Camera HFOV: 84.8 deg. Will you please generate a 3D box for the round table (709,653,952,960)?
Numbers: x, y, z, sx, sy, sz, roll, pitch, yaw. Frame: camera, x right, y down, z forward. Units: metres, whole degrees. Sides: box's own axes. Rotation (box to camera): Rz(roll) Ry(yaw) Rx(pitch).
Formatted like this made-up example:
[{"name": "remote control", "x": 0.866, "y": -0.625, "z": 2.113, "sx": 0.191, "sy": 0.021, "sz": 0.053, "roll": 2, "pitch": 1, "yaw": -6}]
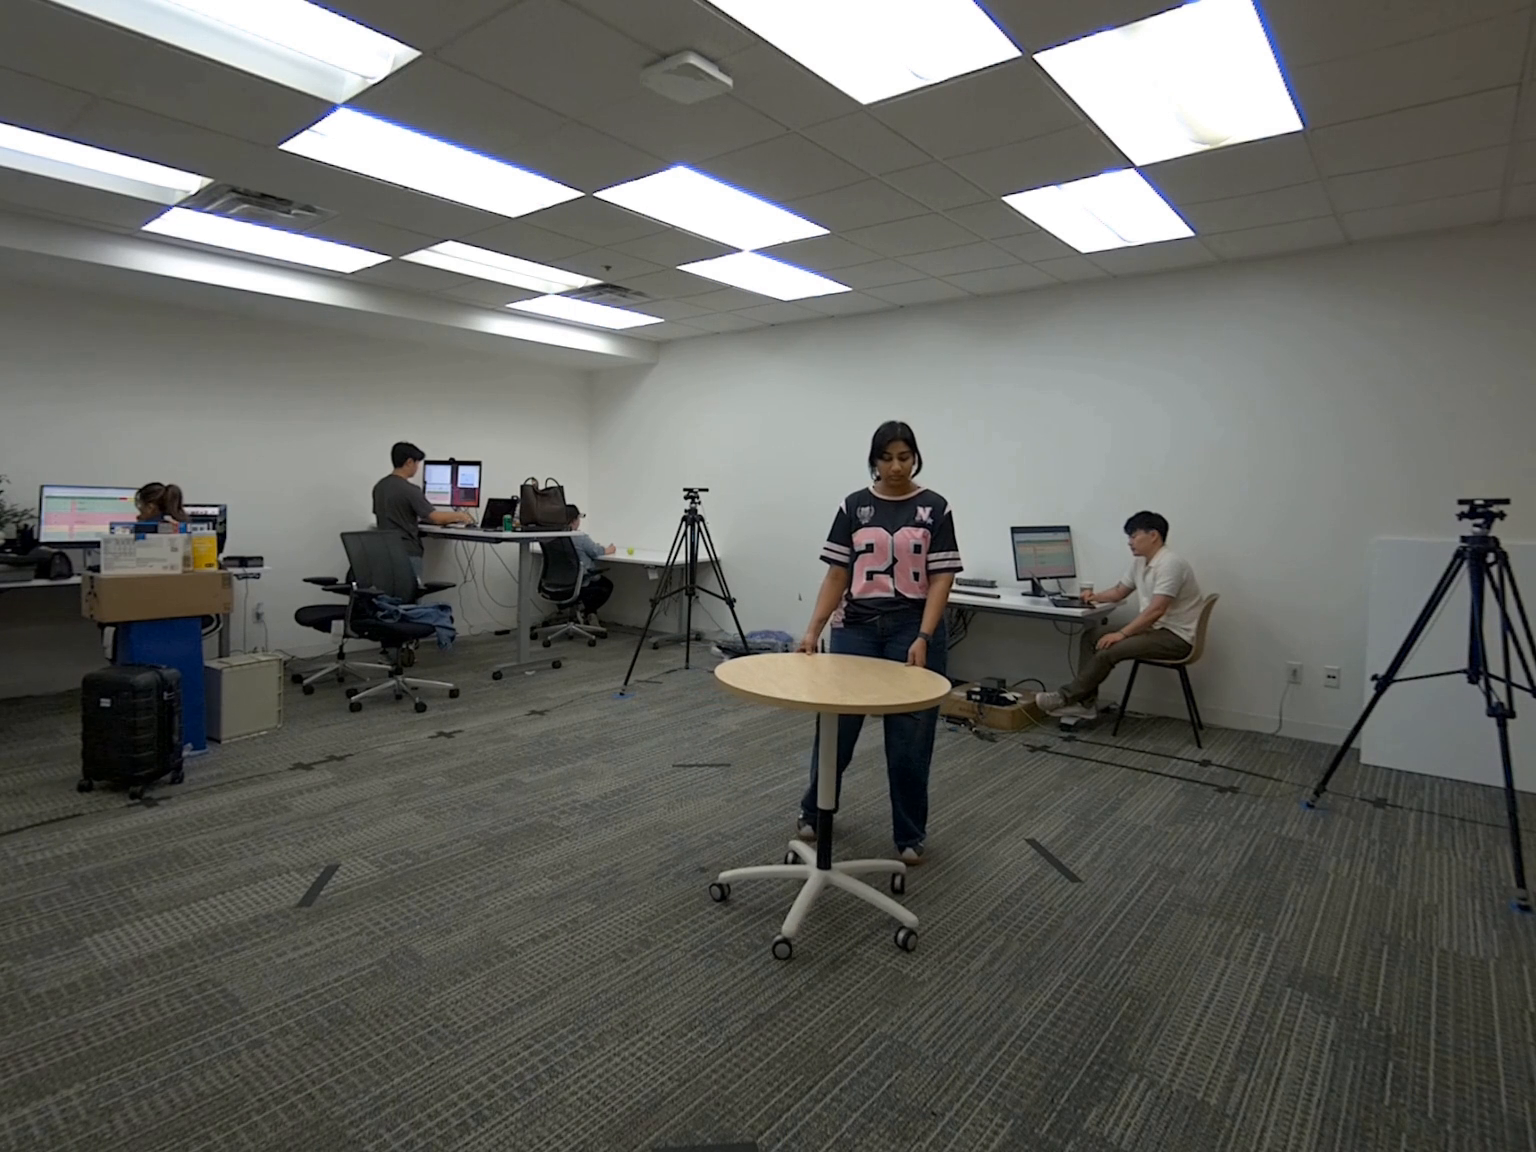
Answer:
[{"name": "round table", "x": 0.176, "y": 0.716, "z": 2.818, "sx": 0.763, "sy": 0.791, "sz": 0.768, "roll": 2, "pitch": 4, "yaw": -2}]
